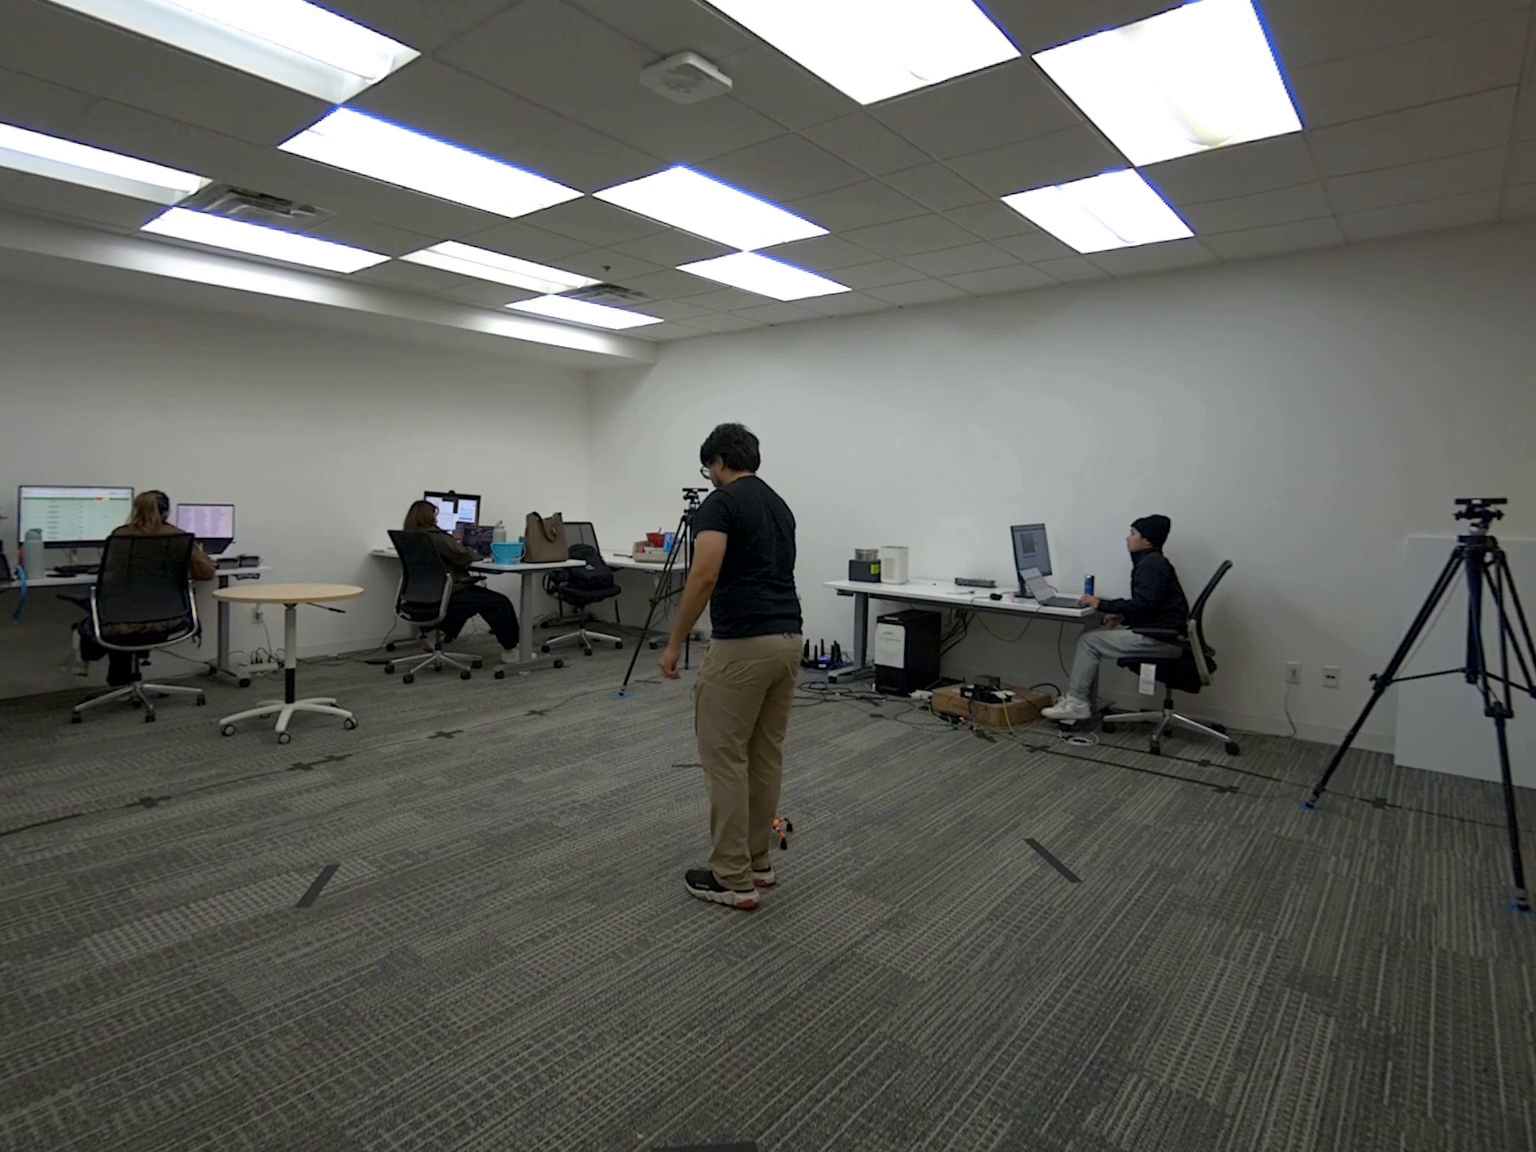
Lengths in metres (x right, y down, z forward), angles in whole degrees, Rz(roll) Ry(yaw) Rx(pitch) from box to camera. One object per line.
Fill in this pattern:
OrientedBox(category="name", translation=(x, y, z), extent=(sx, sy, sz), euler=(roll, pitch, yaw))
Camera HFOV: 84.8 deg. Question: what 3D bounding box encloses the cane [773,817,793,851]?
OrientedBox(category="cane", translation=(0.019, 0.590, 3.390), extent=(0.153, 0.905, 0.205), euler=(1, 3, 8))
